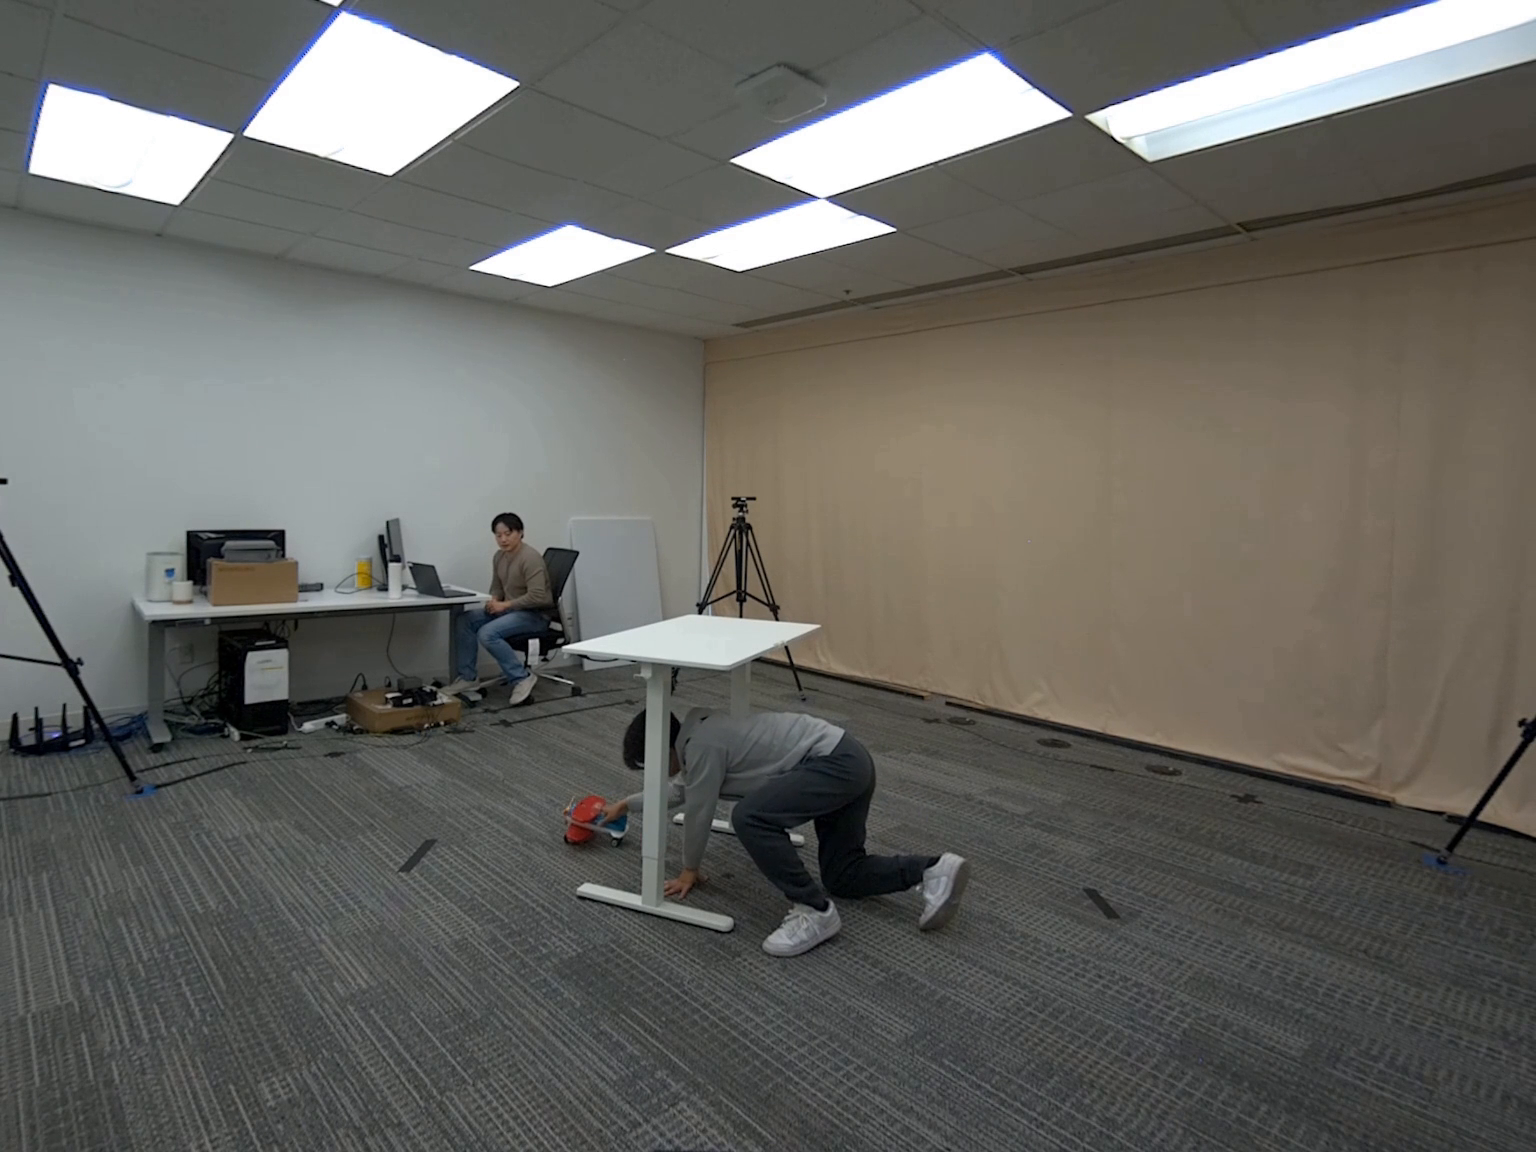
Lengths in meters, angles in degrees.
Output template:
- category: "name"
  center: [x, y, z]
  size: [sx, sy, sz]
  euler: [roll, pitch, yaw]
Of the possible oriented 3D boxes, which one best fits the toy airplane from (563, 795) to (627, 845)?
- category: "toy airplane"
  center: [-0.702, 0.994, 3.395]
  size: [0.255, 0.156, 0.255]
  euler: [-2, 6, -19]
